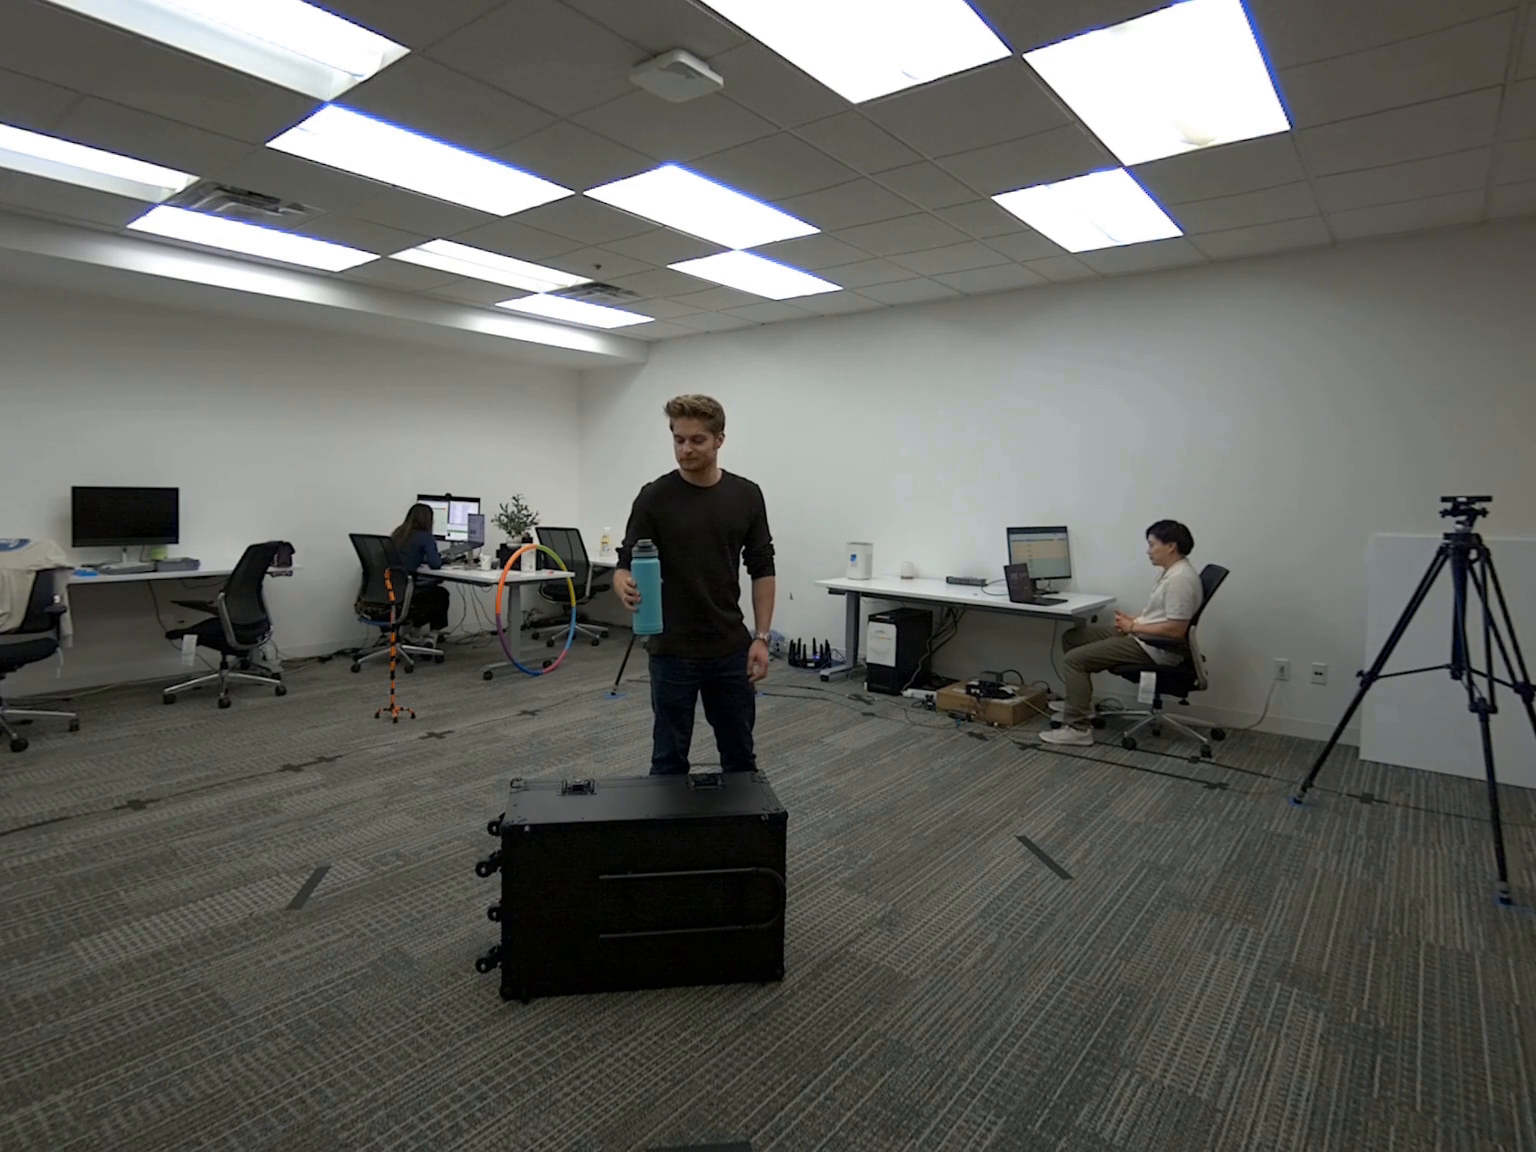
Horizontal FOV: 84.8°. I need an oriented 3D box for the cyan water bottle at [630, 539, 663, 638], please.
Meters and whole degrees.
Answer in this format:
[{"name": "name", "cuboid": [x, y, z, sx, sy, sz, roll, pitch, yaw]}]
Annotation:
[{"name": "cyan water bottle", "cuboid": [-0.380, 0.029, 2.597, 0.092, 0.283, 0.092, -1, 1, -2]}]
